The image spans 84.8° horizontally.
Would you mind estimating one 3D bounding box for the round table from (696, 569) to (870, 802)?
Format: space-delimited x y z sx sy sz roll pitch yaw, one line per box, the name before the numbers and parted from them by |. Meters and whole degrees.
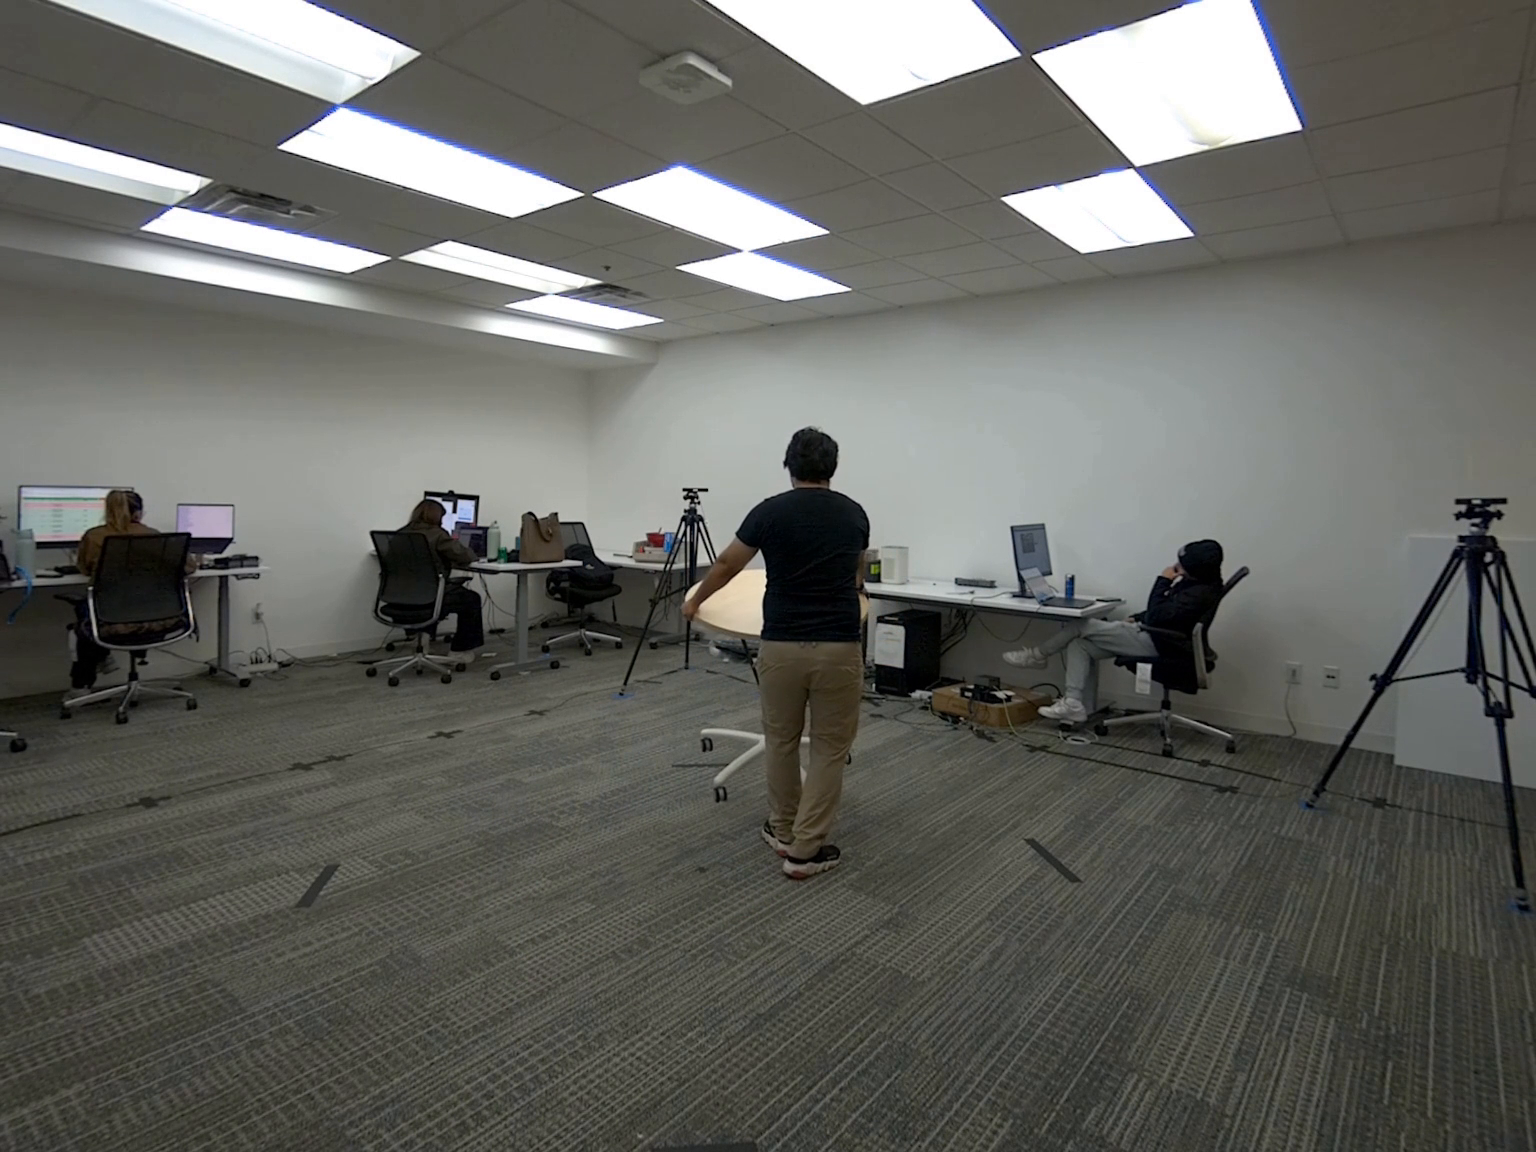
round table | -0.001 0.472 3.673 0.784 0.774 0.799 1 17 -2
